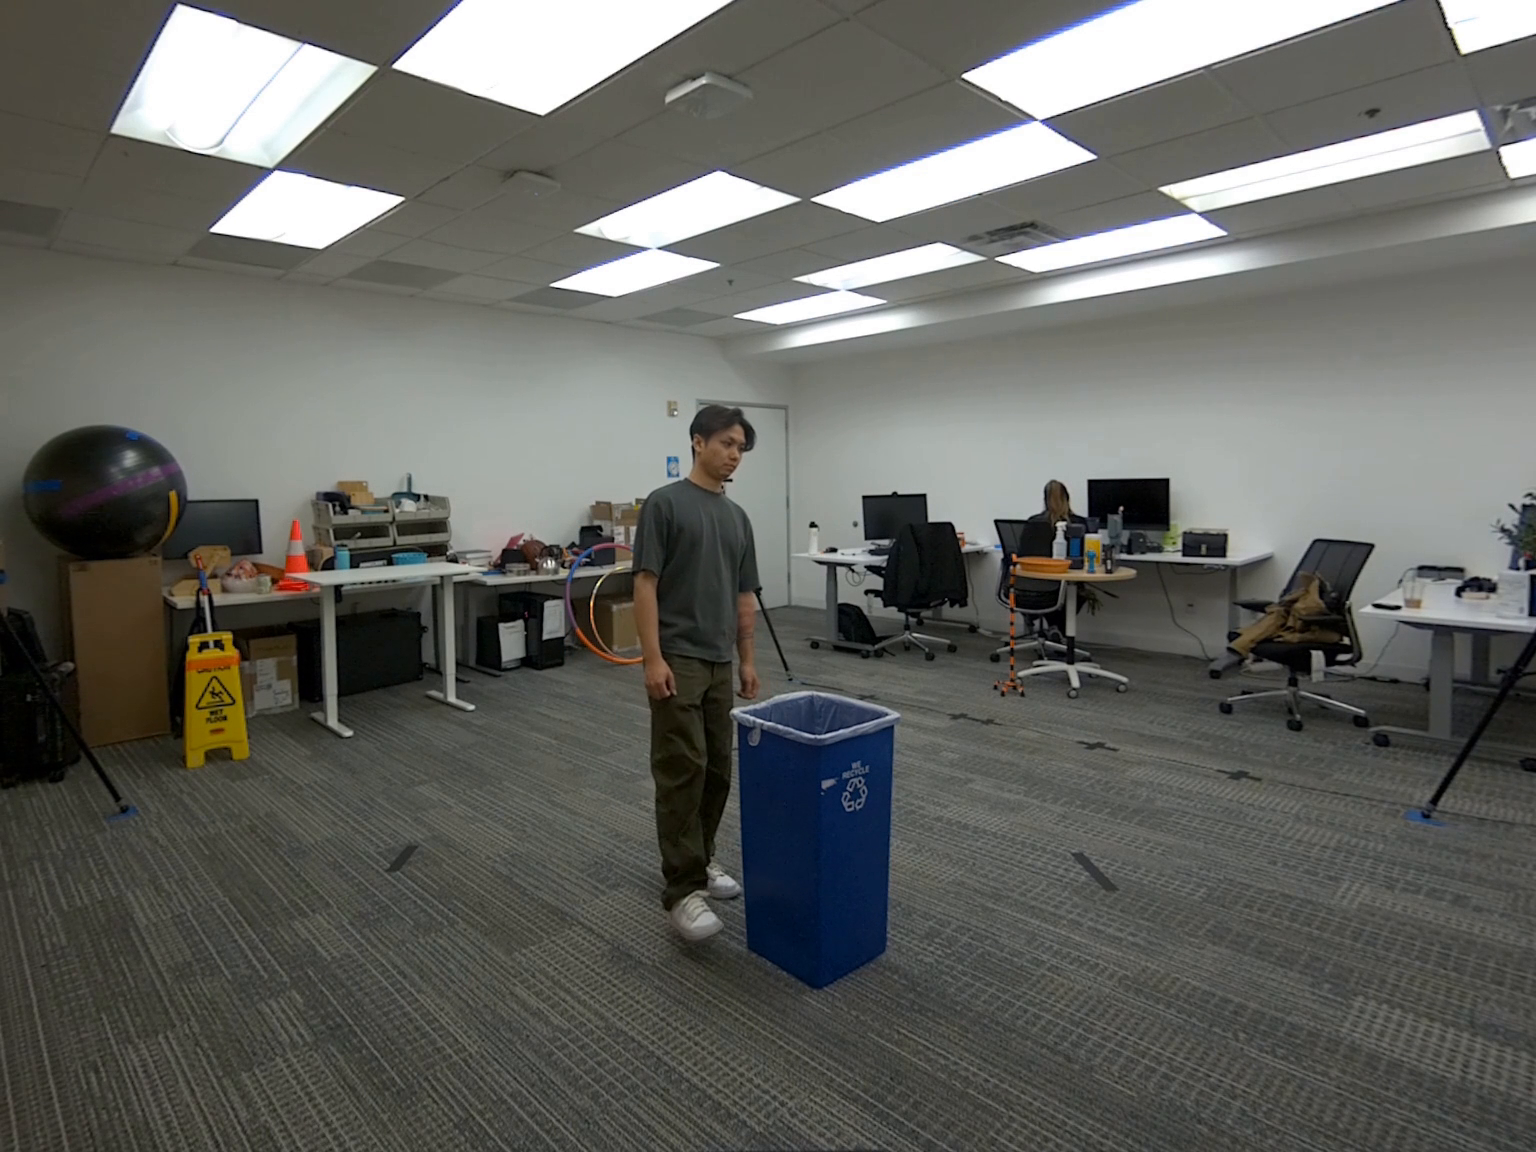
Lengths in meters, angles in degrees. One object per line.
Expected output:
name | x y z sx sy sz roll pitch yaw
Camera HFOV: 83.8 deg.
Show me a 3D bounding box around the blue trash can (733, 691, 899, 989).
blue trash can | 0.138 0.752 2.514 0.368 0.711 0.386 -4 6 -43
